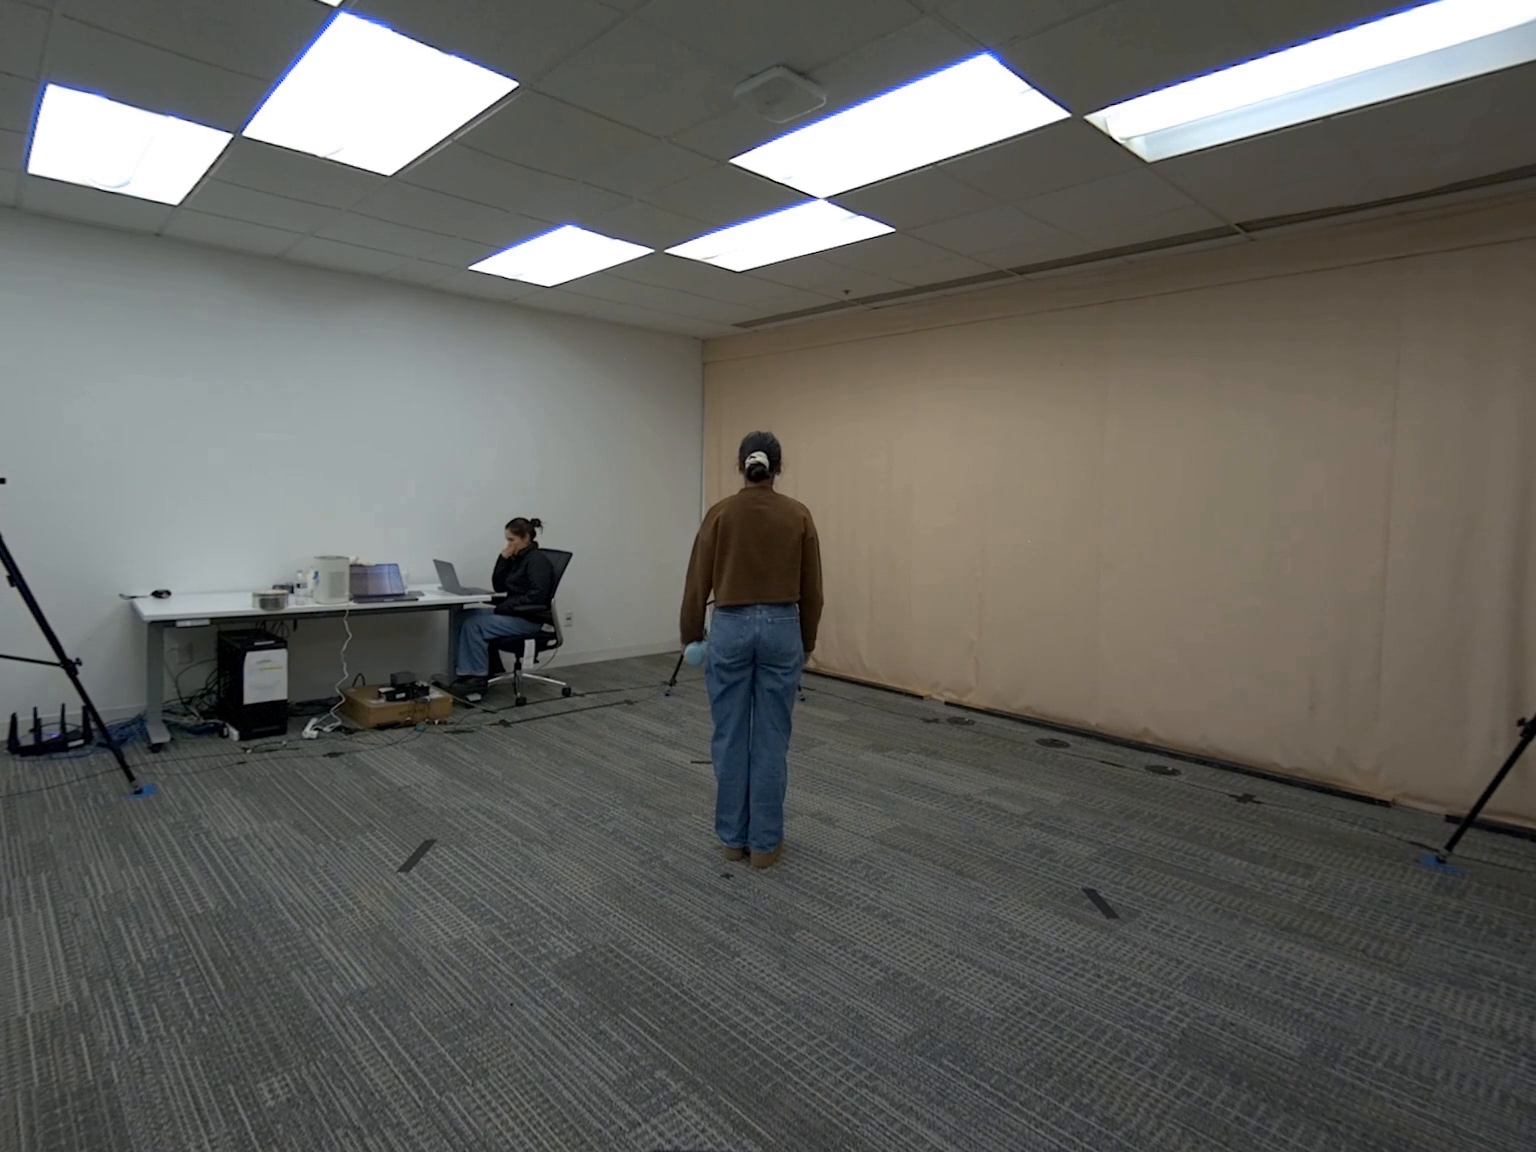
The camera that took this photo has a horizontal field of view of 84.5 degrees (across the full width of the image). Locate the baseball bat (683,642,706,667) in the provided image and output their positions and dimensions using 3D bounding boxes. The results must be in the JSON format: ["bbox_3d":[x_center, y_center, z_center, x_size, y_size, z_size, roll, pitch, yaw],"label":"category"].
[{"bbox_3d":[-0.303,0.287,3.604,0.089,0.089,0.545,1,6,-1],"label":"baseball bat"}]
